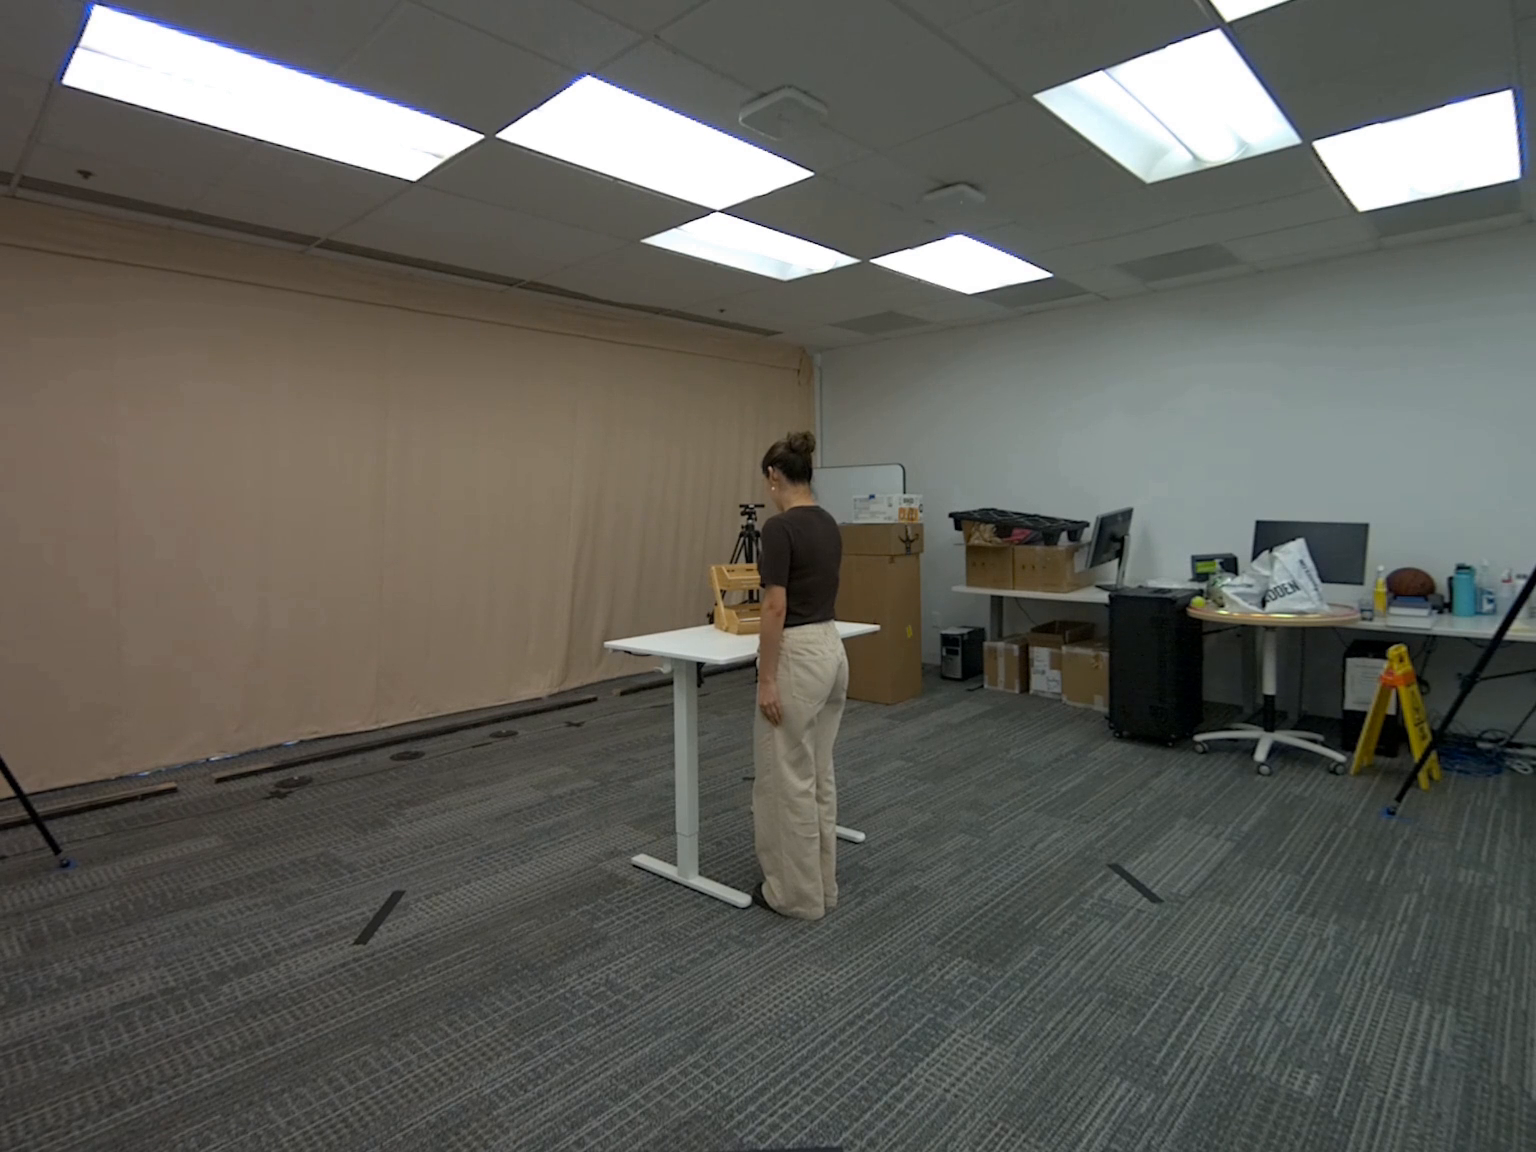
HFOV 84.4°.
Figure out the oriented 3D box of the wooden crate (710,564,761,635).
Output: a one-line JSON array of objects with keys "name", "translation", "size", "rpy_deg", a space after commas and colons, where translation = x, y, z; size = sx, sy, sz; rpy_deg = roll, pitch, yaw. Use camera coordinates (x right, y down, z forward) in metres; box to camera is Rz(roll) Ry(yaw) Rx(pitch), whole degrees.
[{"name": "wooden crate", "translation": [-0.045, 0.085, 3.479], "size": [0.317, 0.273, 0.309], "rpy_deg": [-2, 3, -24]}]
